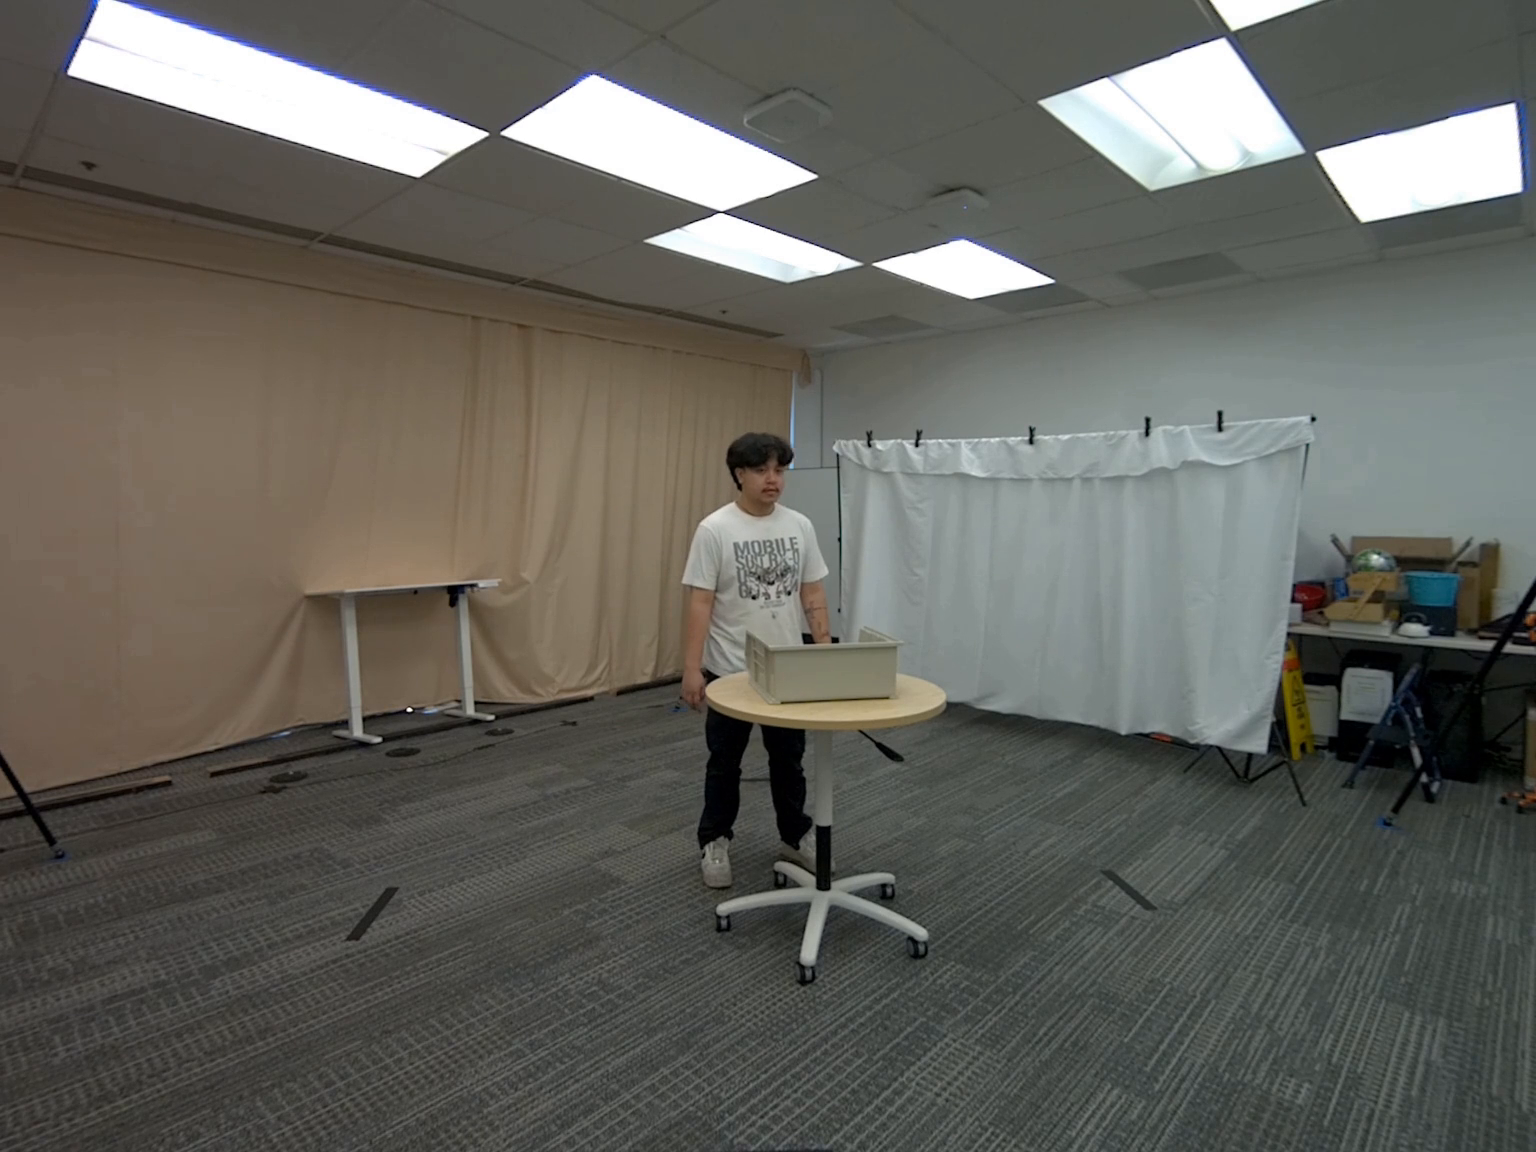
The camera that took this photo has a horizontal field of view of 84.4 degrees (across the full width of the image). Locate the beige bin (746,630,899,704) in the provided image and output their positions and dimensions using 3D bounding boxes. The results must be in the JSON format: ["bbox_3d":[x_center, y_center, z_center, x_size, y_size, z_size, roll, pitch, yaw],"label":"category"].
[{"bbox_3d":[0.169,0.278,2.726,0.417,0.188,0.383,-1,6,-12],"label":"beige bin"}]
